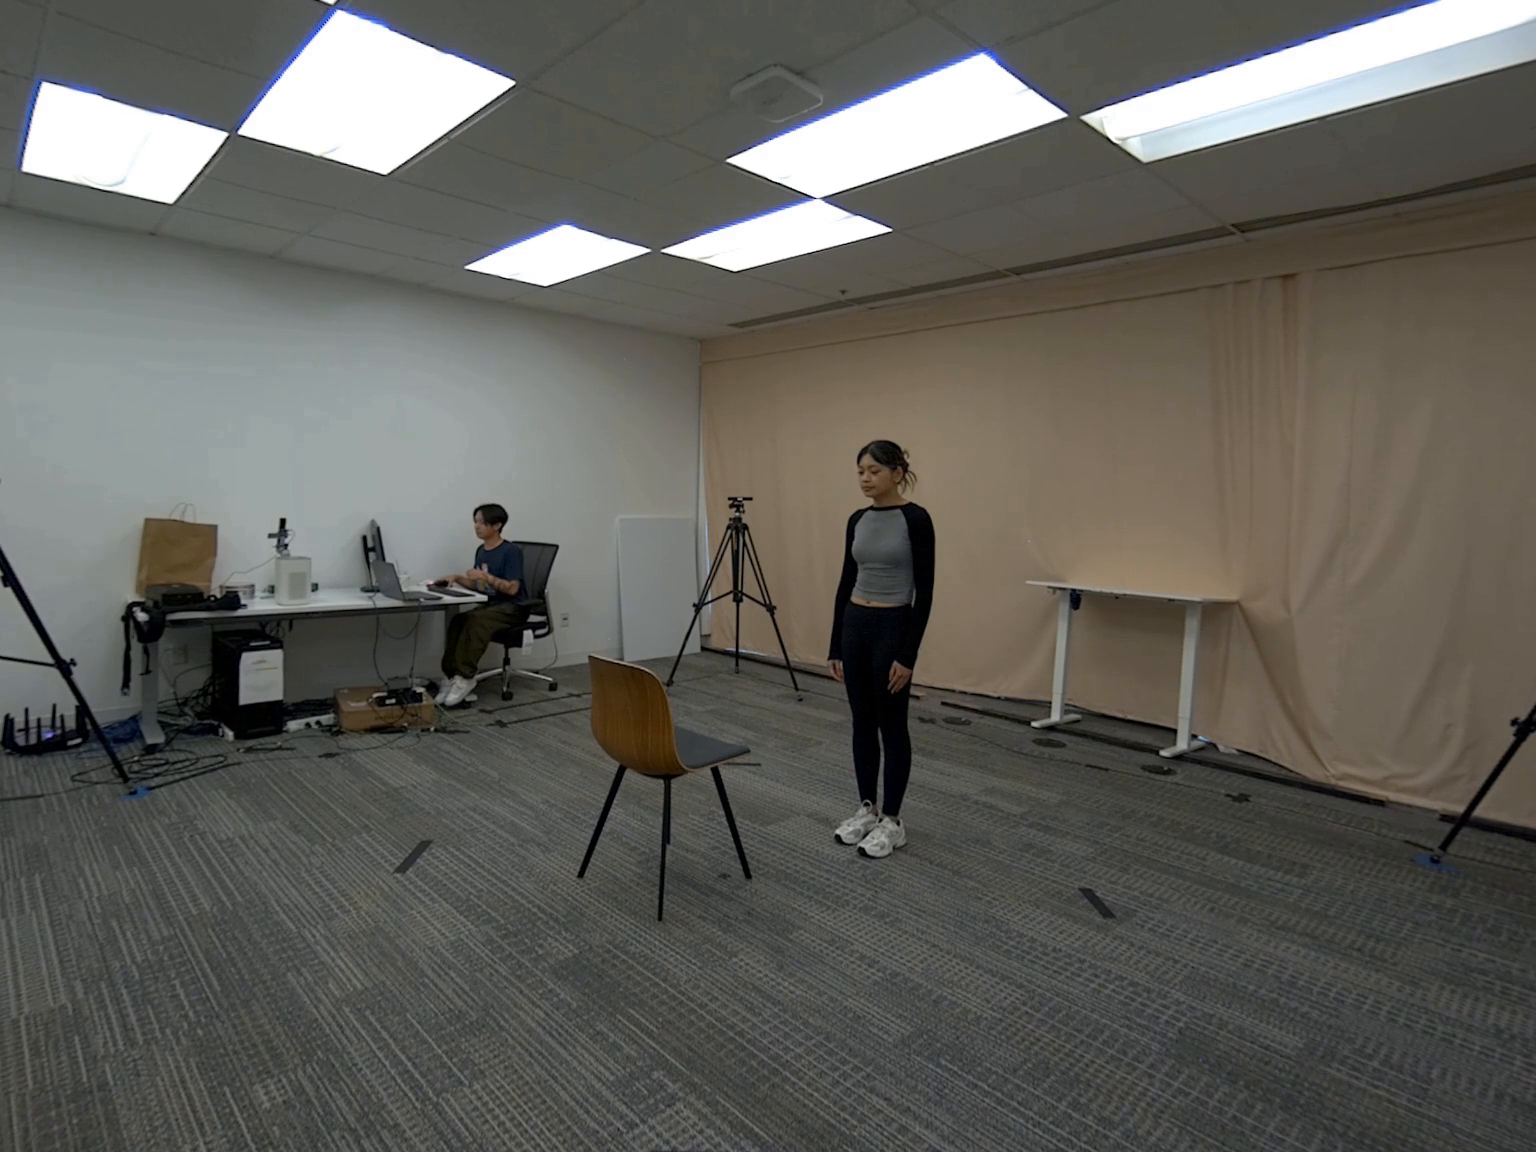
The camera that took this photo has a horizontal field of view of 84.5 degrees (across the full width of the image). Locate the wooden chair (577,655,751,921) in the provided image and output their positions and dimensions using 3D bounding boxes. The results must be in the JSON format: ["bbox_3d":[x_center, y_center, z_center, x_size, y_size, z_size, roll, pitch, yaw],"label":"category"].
[{"bbox_3d":[-0.364,0.679,3.048,0.490,0.873,0.512,4,9,42],"label":"wooden chair"}]
